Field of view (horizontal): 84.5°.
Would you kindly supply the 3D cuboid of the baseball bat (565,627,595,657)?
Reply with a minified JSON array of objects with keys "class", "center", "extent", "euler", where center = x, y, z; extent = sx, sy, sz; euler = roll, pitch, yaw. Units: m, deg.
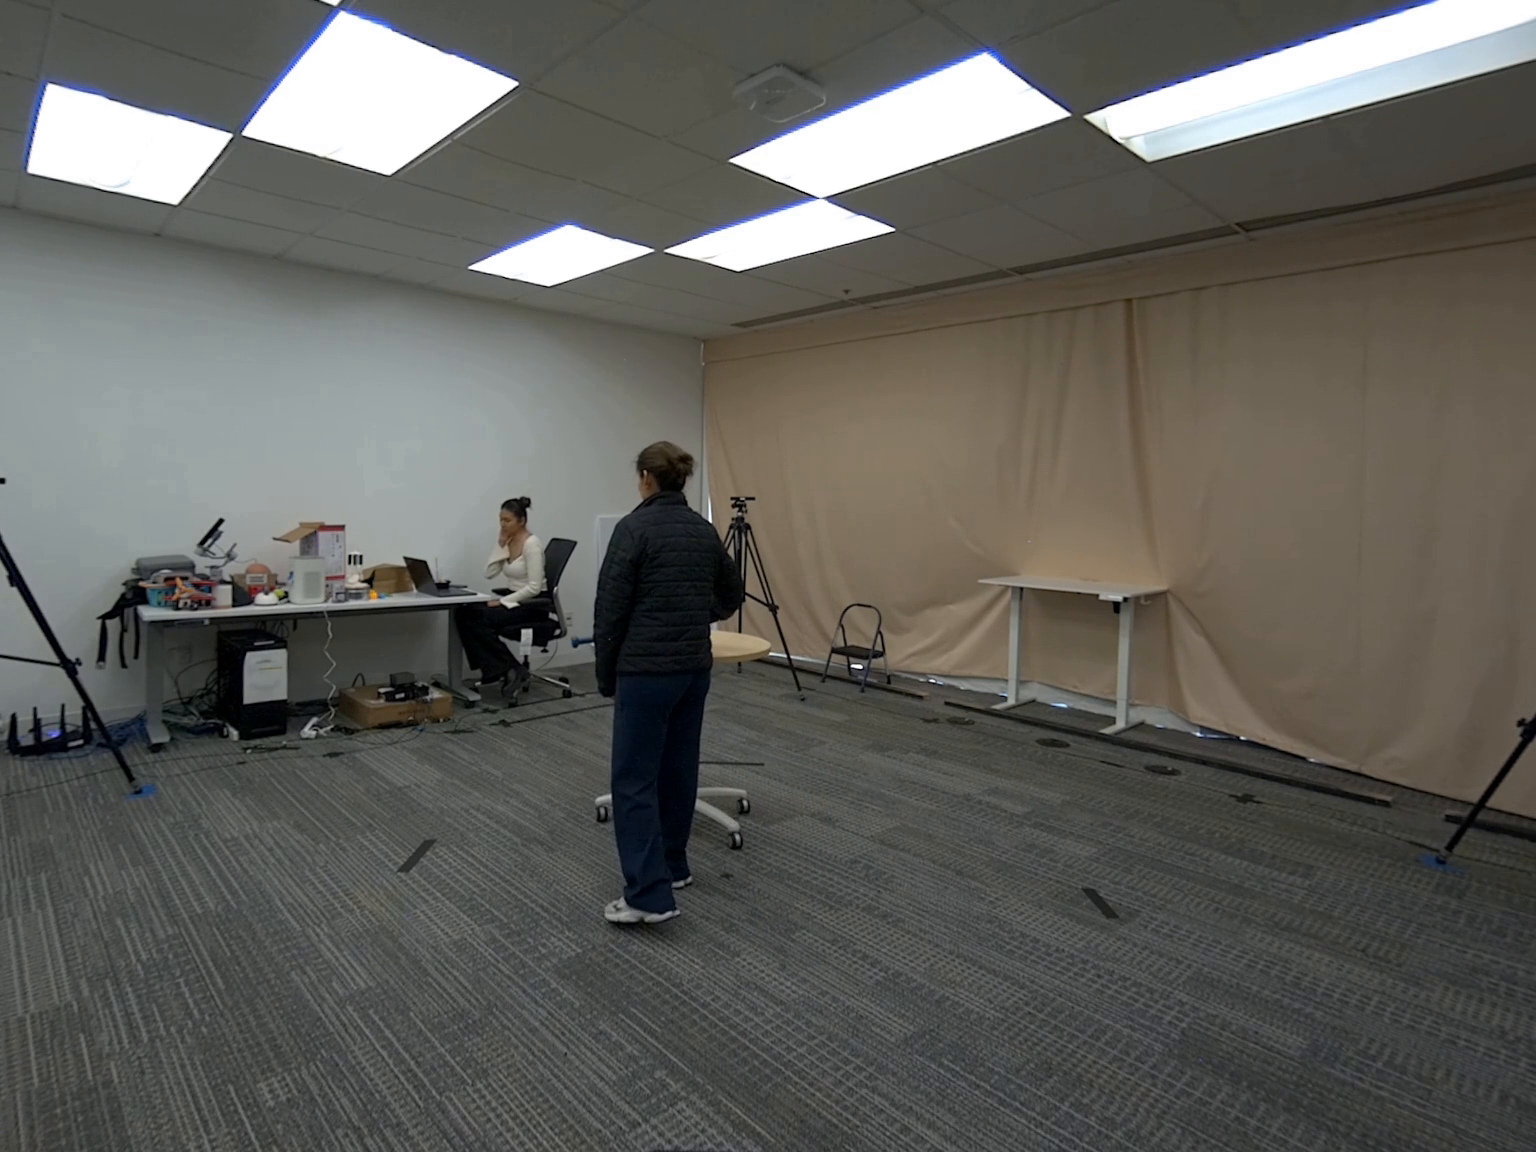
[{"class":"baseball bat","center":[-0.525,0.237,3.361],"extent":[0.539,0.089,0.090],"euler":[-5,5,-10]}]
